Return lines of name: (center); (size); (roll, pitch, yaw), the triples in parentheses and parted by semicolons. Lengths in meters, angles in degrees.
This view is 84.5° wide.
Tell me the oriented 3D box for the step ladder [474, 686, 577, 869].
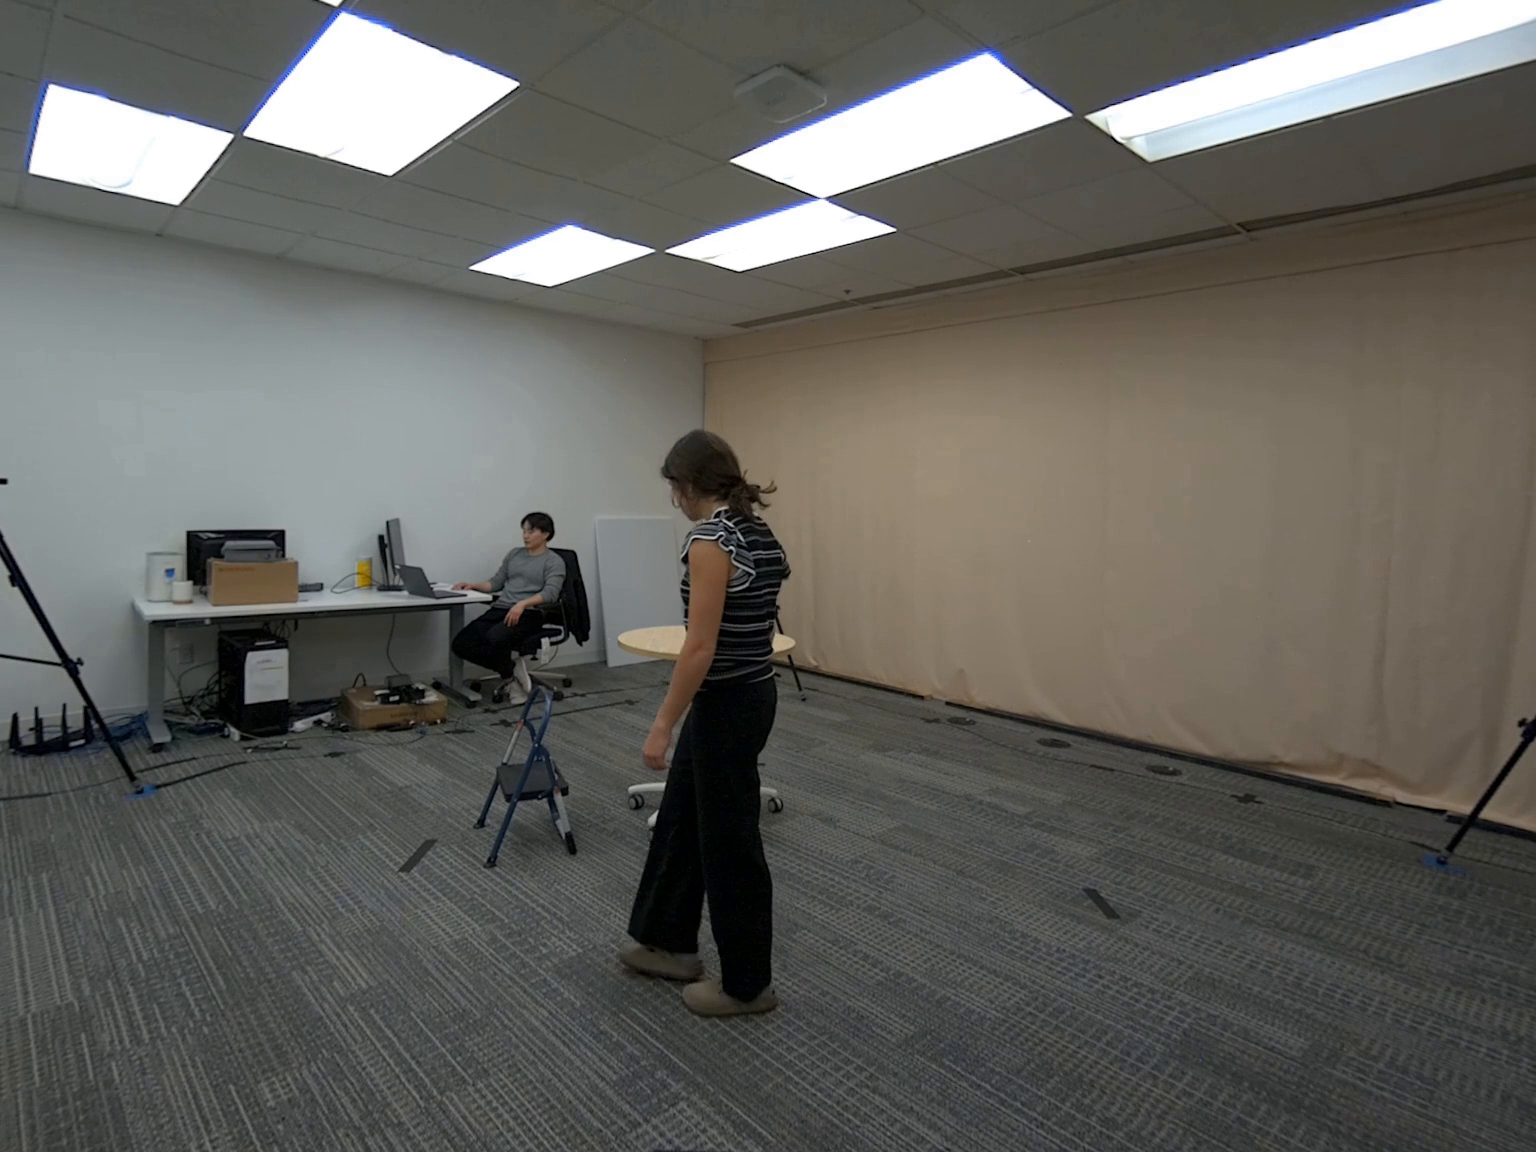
step ladder: (-0.979, 0.762, 3.363); (0.343, 0.604, 0.439); (0, 4, -24)
